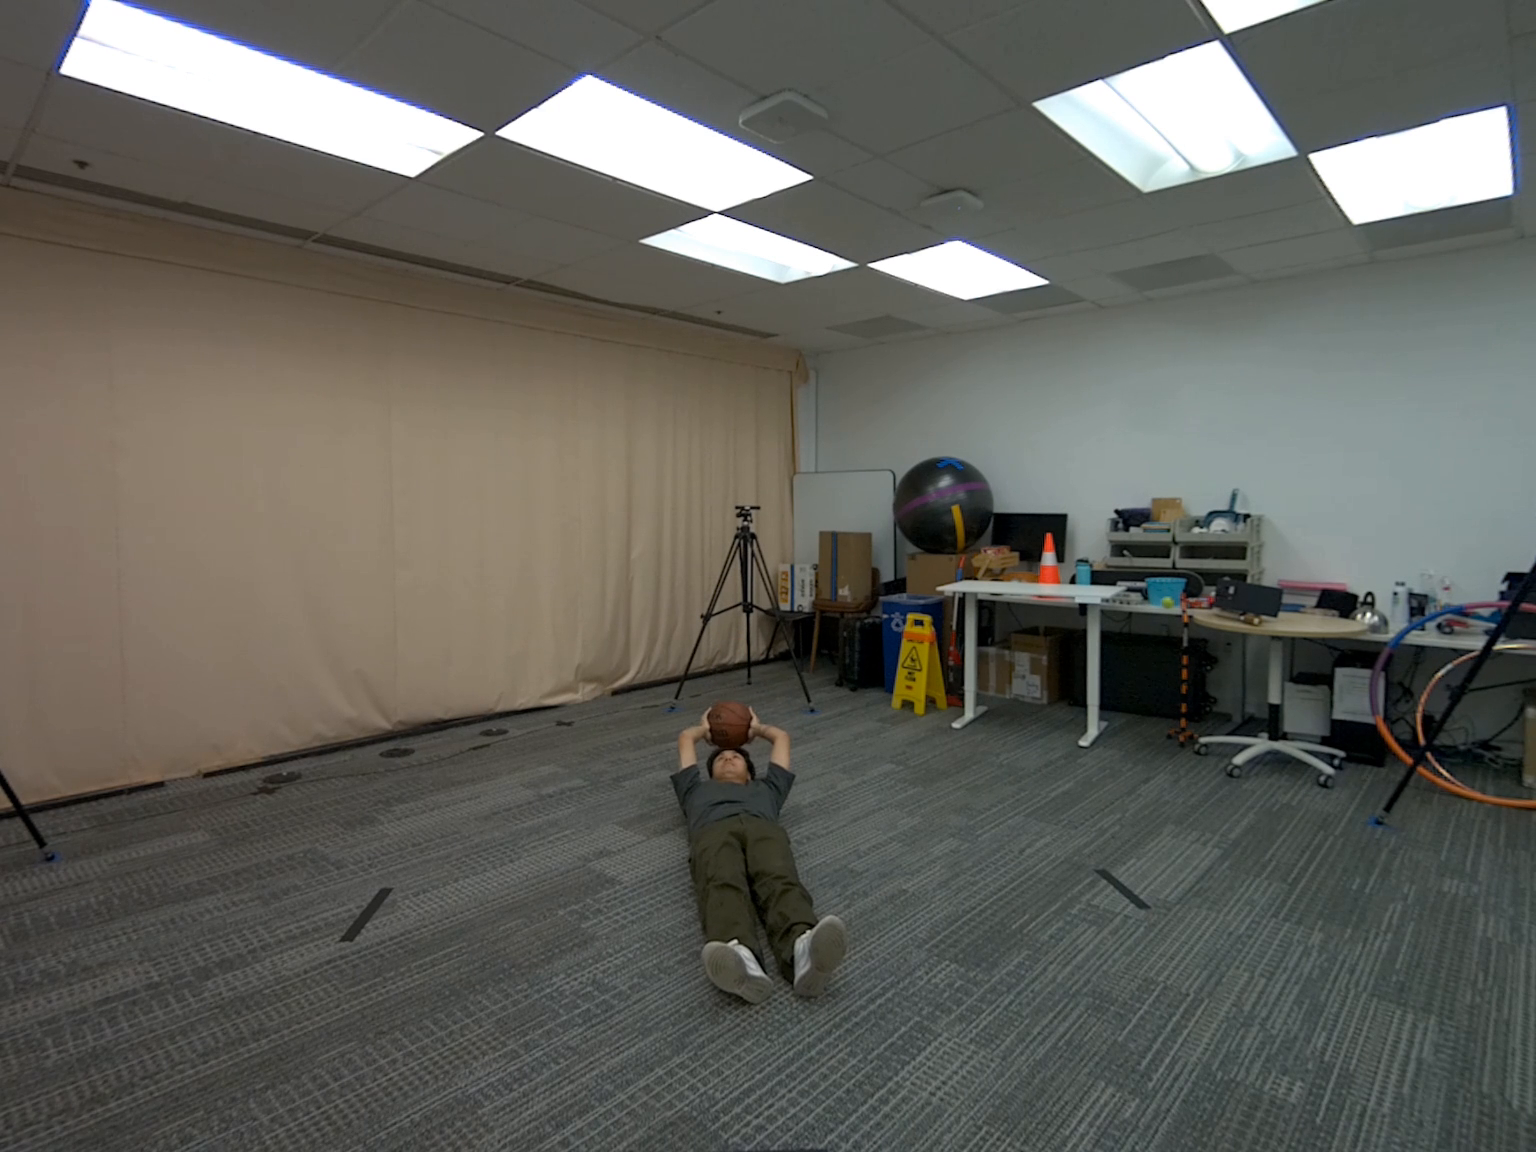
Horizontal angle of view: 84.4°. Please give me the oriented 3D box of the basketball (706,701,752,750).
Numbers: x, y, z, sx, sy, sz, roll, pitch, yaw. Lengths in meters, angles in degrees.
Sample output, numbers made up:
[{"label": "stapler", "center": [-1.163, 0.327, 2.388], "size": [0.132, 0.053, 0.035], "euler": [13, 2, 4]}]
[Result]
[{"label": "basketball", "center": [-0.185, 0.722, 4.127], "size": [0.236, 0.235, 0.237], "euler": [0, 4, -2]}]
